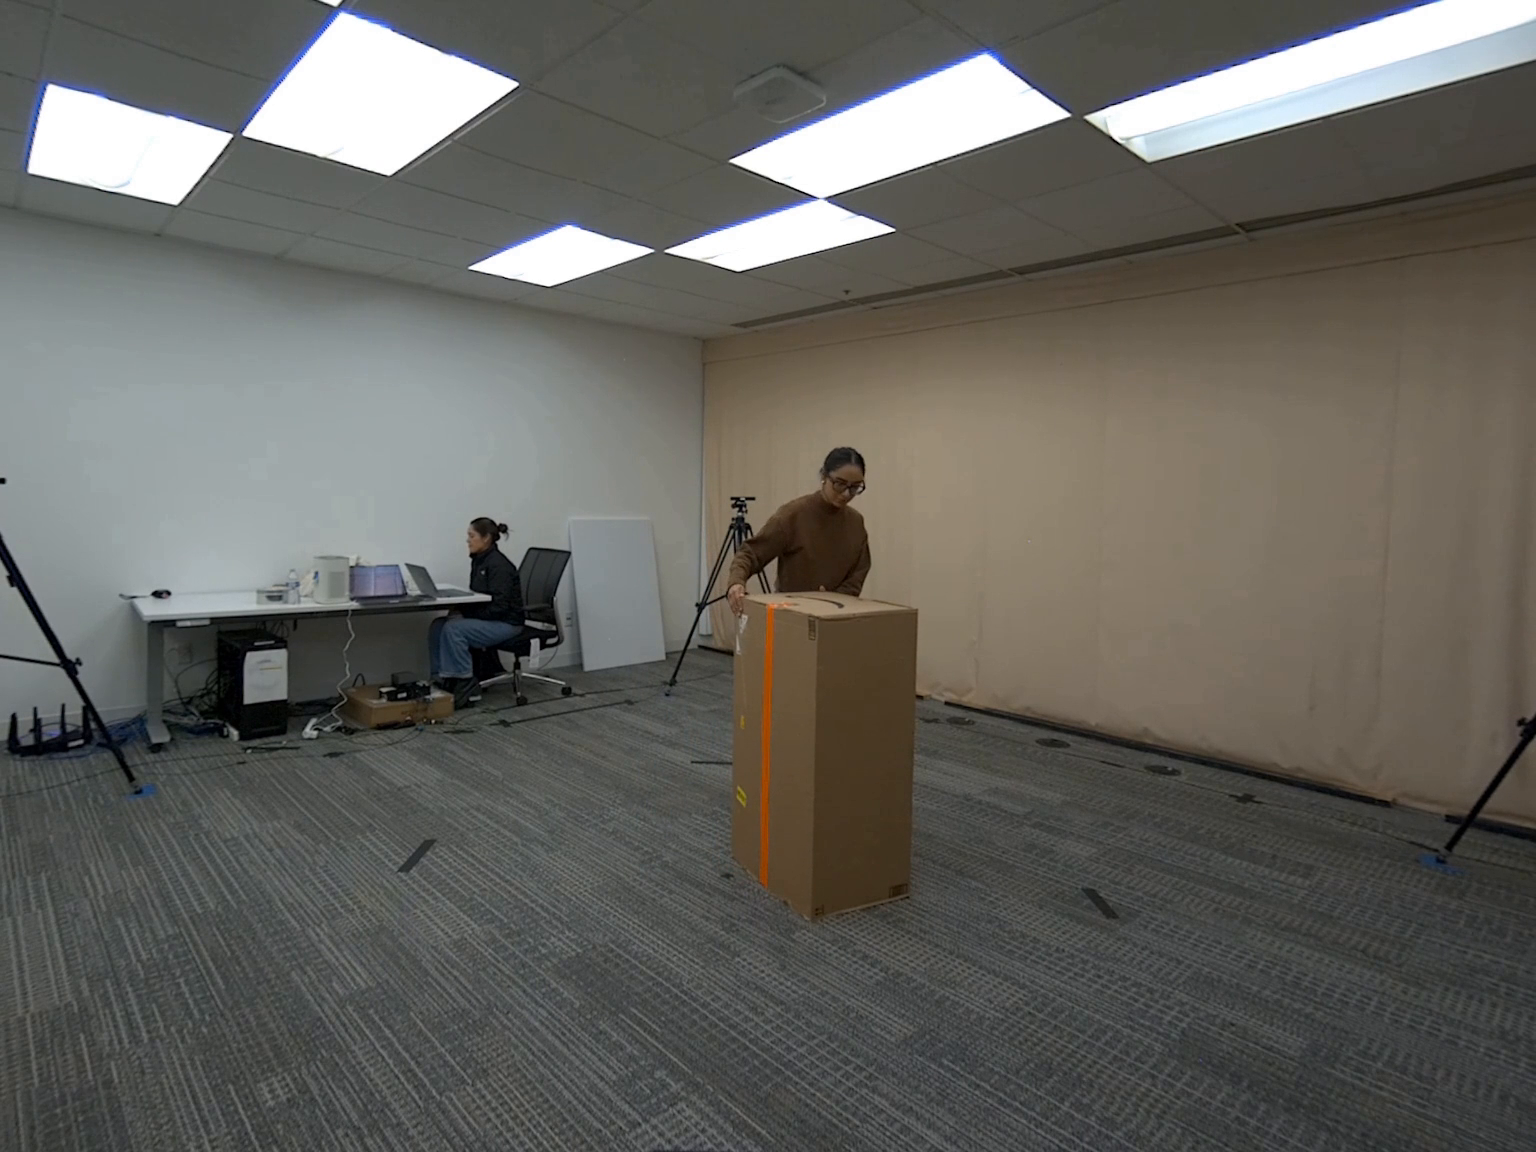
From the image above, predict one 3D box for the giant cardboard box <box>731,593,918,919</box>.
[{"bbox_3d":[0.177,0.608,3.082,0.418,1.023,0.590,-1,4,-29],"label":"giant cardboard box"}]
